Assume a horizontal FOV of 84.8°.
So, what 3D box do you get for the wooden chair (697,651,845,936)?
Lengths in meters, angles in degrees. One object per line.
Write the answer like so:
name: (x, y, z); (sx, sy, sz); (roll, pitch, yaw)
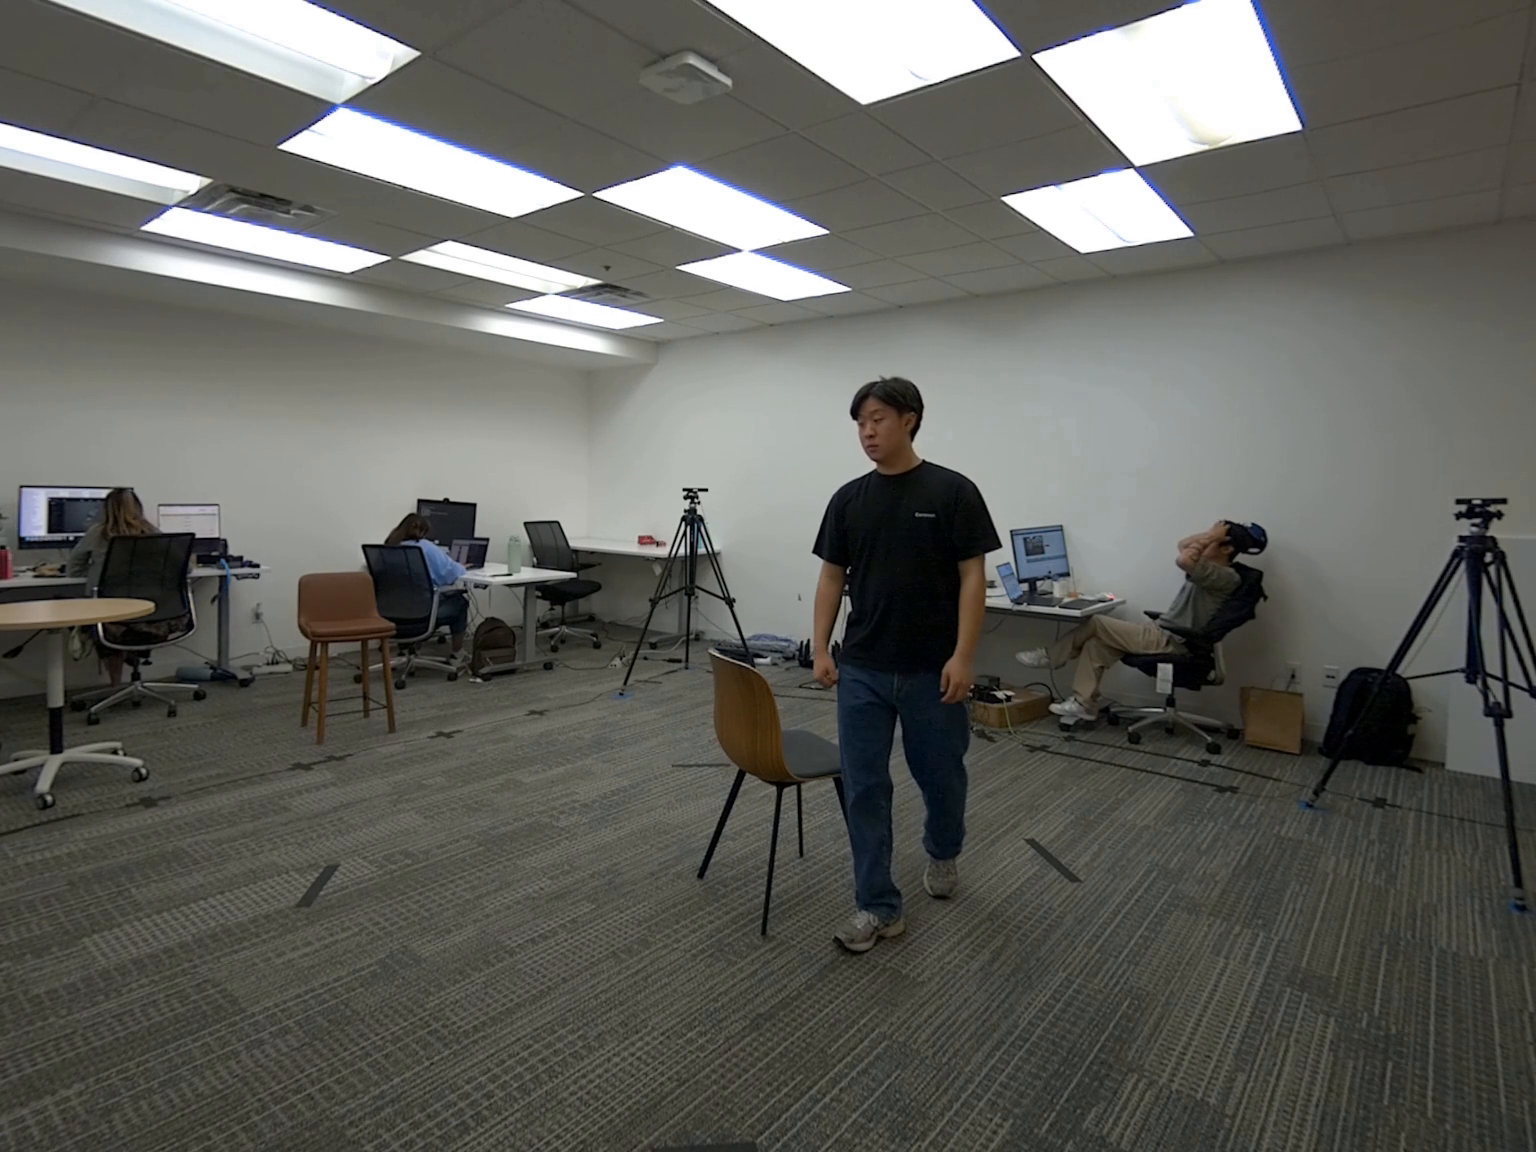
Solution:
wooden chair: (0.062, 0.666, 2.930); (0.510, 0.873, 0.492); (-6, 6, -30)
